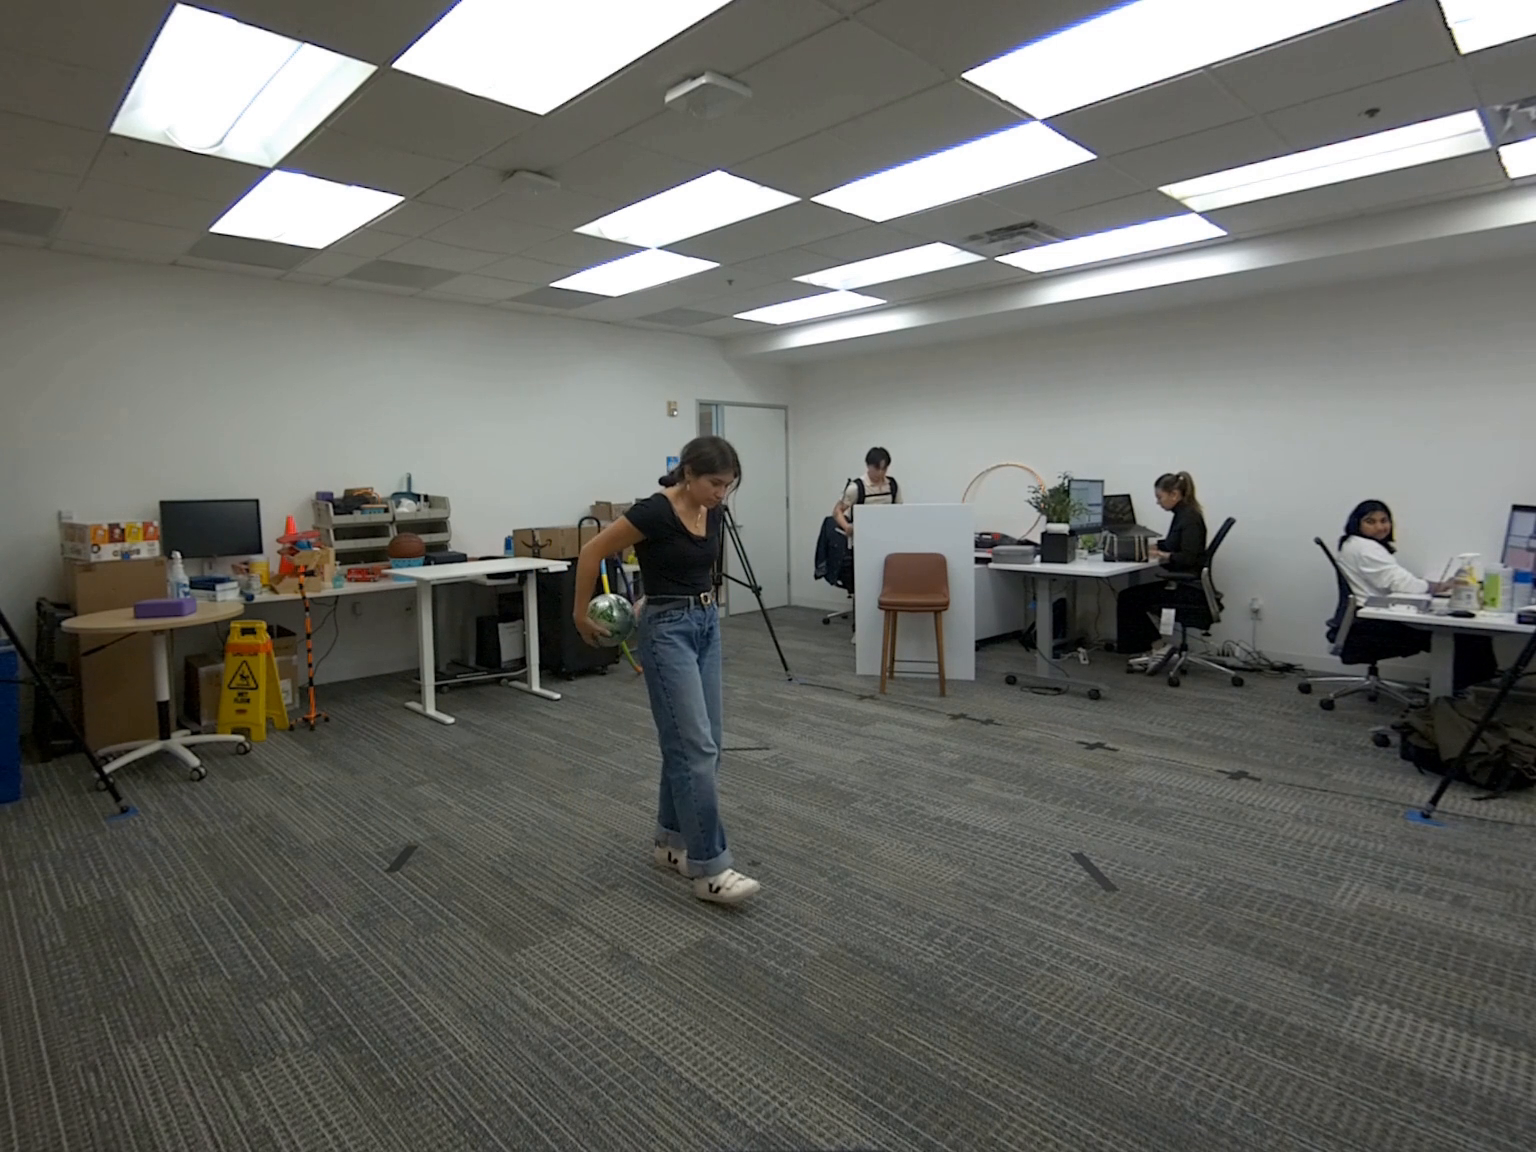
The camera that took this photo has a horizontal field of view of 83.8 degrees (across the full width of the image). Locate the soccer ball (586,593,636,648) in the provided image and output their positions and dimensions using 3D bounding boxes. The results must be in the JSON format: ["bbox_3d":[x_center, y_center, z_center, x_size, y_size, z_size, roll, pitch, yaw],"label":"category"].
[{"bbox_3d":[-0.557,0.150,3.088,0.187,0.187,0.188,-1,5,-2],"label":"soccer ball"}]
